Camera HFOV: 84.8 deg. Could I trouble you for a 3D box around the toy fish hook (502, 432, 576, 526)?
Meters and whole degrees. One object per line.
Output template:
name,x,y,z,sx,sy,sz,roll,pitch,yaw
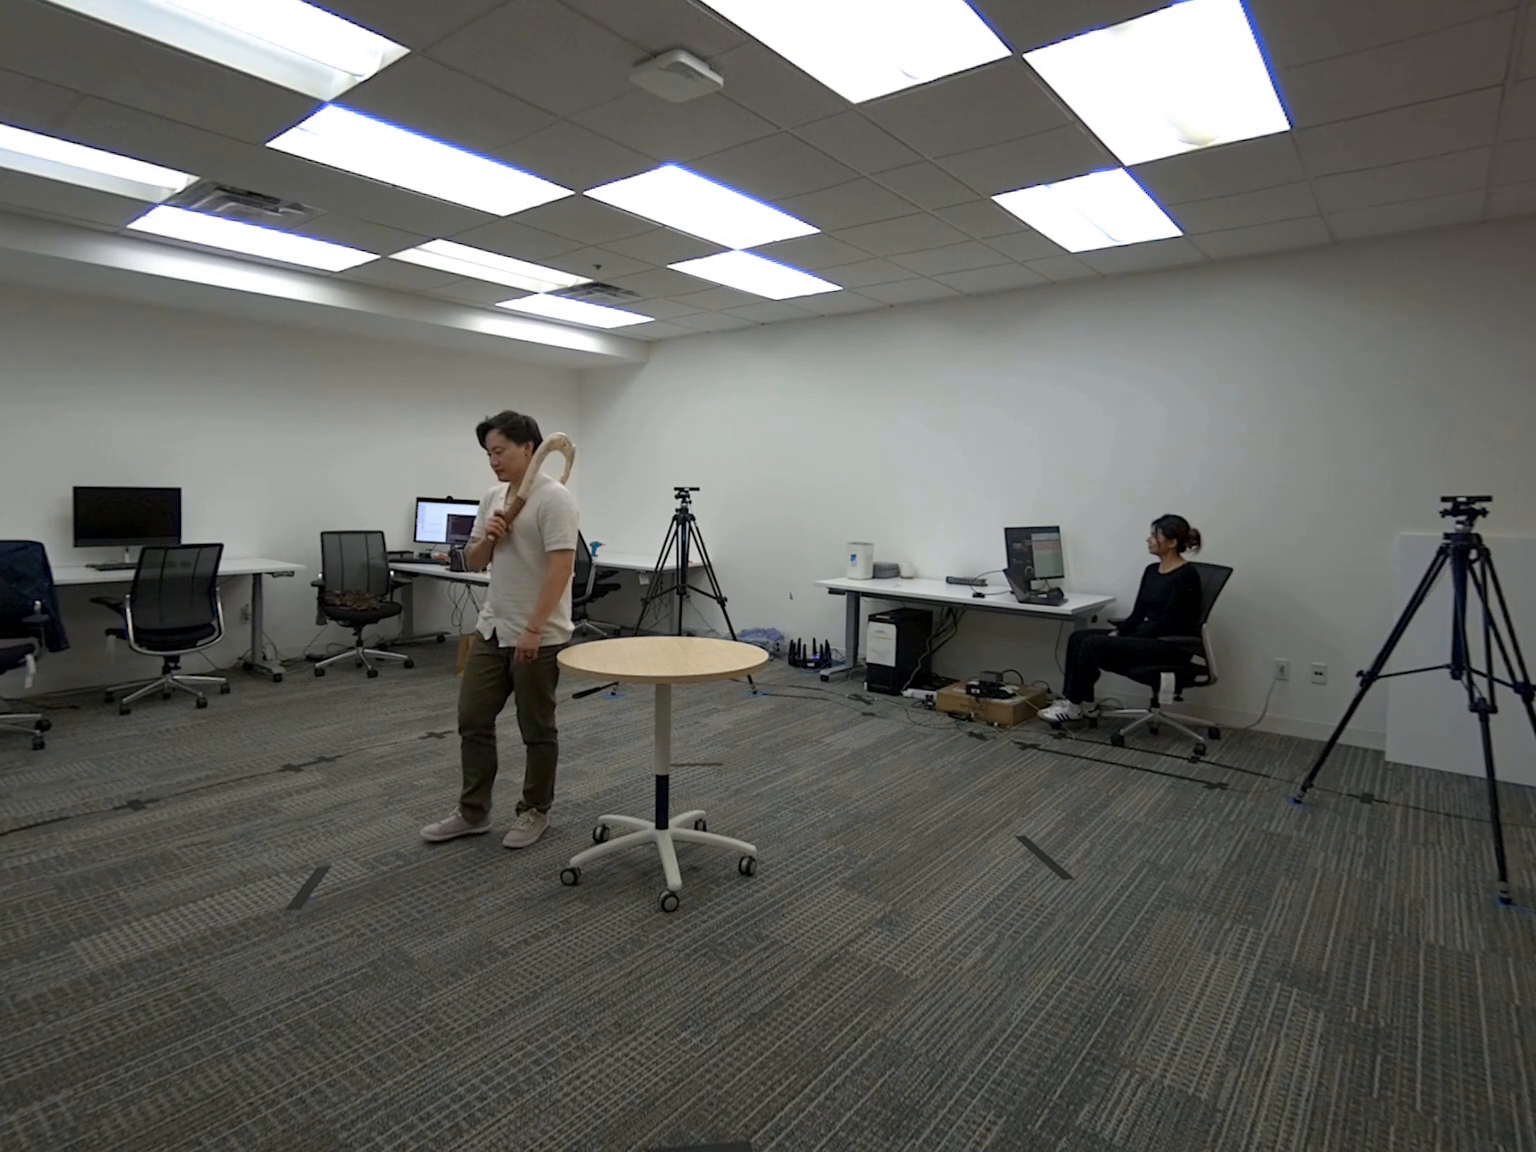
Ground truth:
toy fish hook,-0.918,-0.322,3.274,0.050,0.509,0.215,19,-16,32
